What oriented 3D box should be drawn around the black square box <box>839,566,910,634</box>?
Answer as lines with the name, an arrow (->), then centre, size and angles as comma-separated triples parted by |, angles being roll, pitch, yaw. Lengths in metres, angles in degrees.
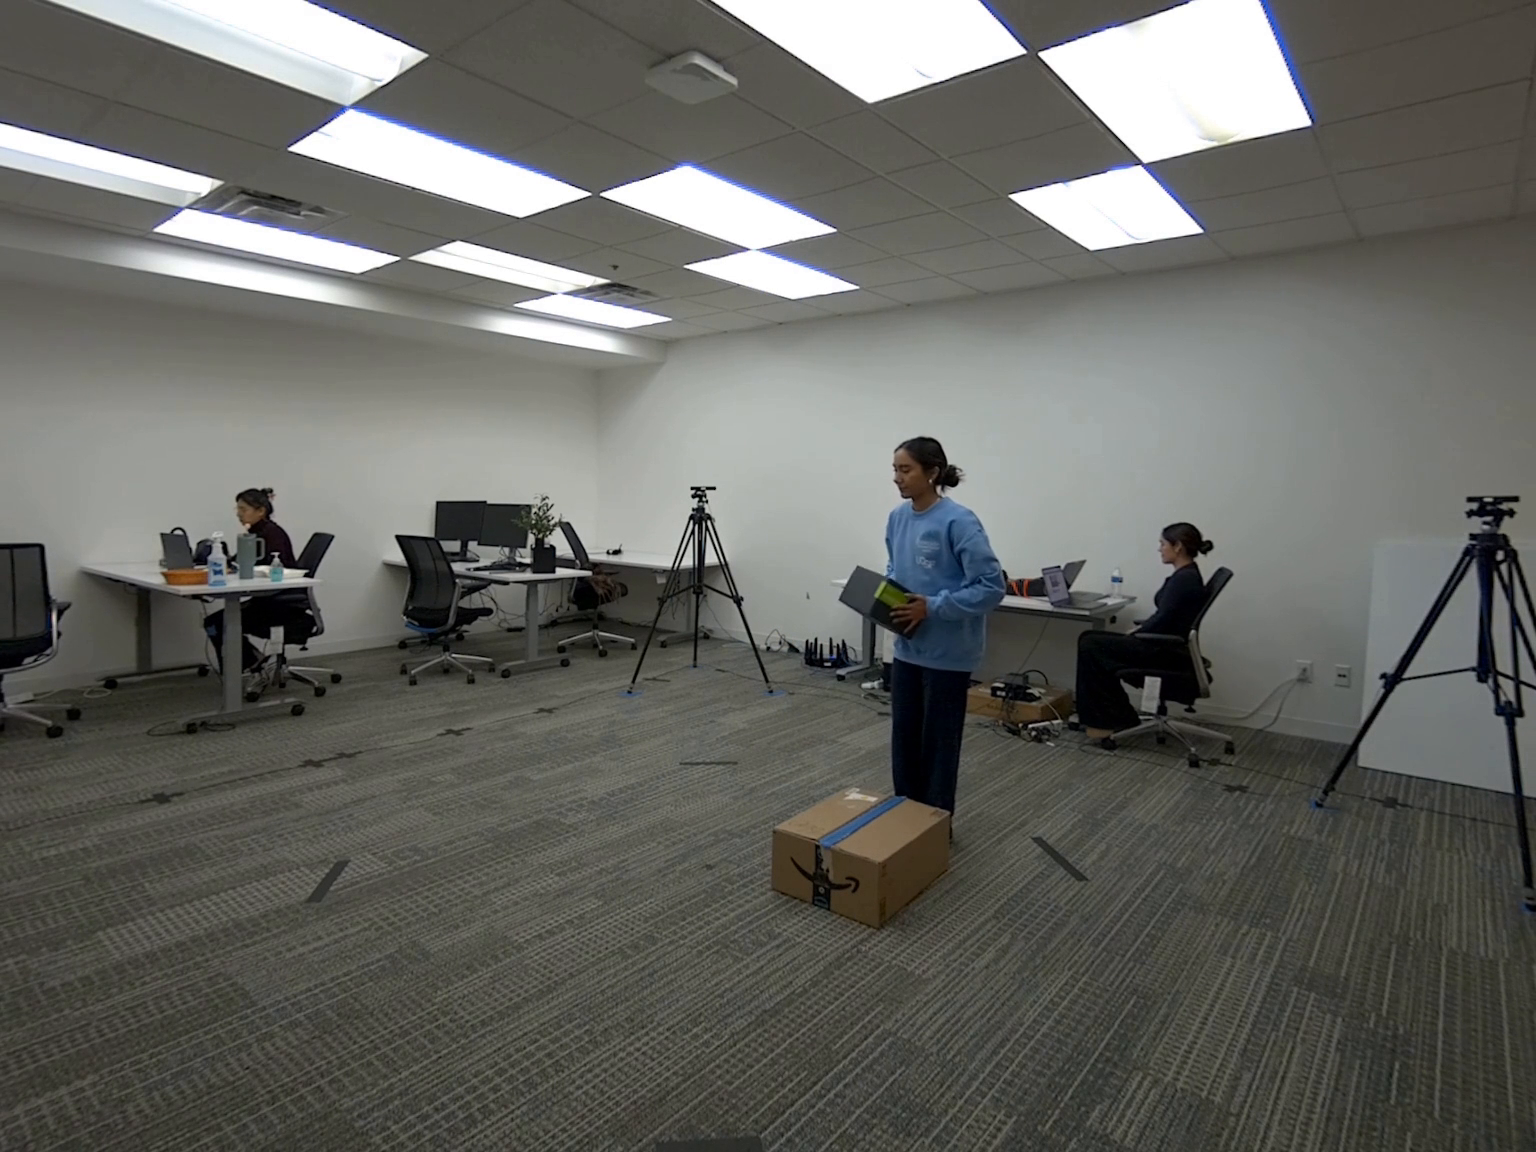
black square box -> 0.423, 0.103, 3.215 | 0.220, 0.156, 0.224 | 31, -2, -28
